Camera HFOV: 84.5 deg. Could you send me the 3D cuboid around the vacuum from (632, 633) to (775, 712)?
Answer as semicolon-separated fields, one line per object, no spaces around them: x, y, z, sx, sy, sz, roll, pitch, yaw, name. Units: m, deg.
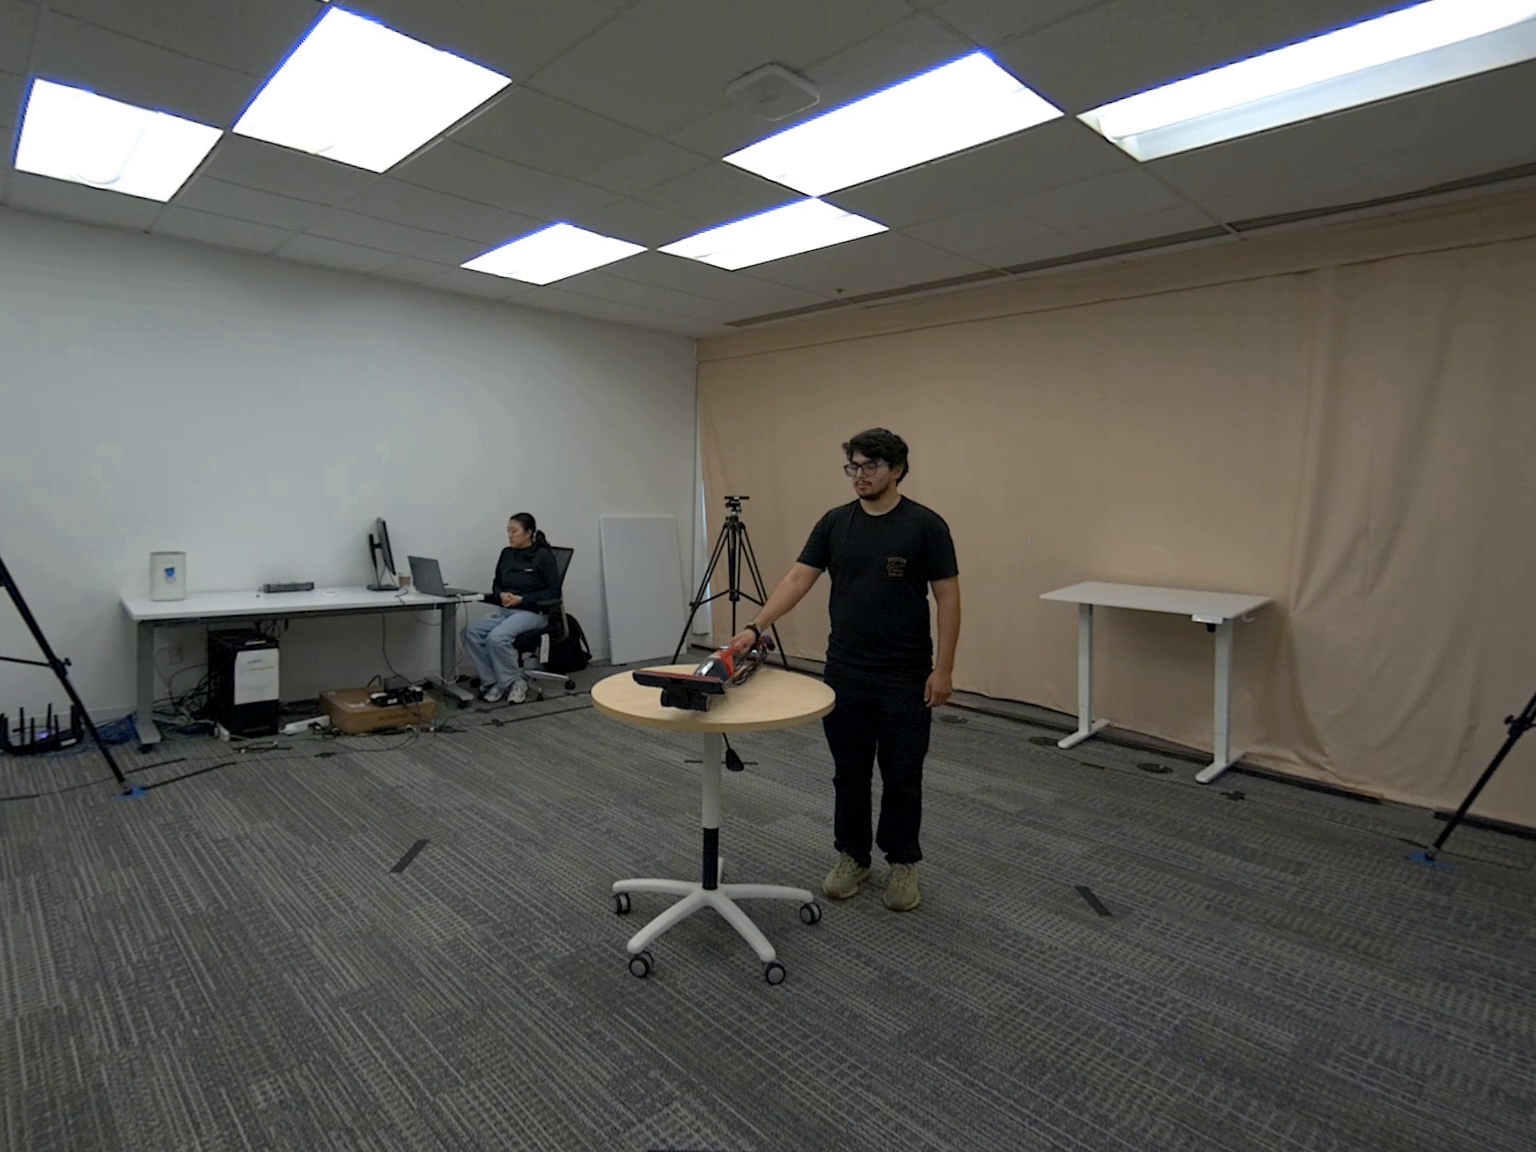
-0.117;0.297;2.764;0.256;0.144;1.038;4;3;13;vacuum
